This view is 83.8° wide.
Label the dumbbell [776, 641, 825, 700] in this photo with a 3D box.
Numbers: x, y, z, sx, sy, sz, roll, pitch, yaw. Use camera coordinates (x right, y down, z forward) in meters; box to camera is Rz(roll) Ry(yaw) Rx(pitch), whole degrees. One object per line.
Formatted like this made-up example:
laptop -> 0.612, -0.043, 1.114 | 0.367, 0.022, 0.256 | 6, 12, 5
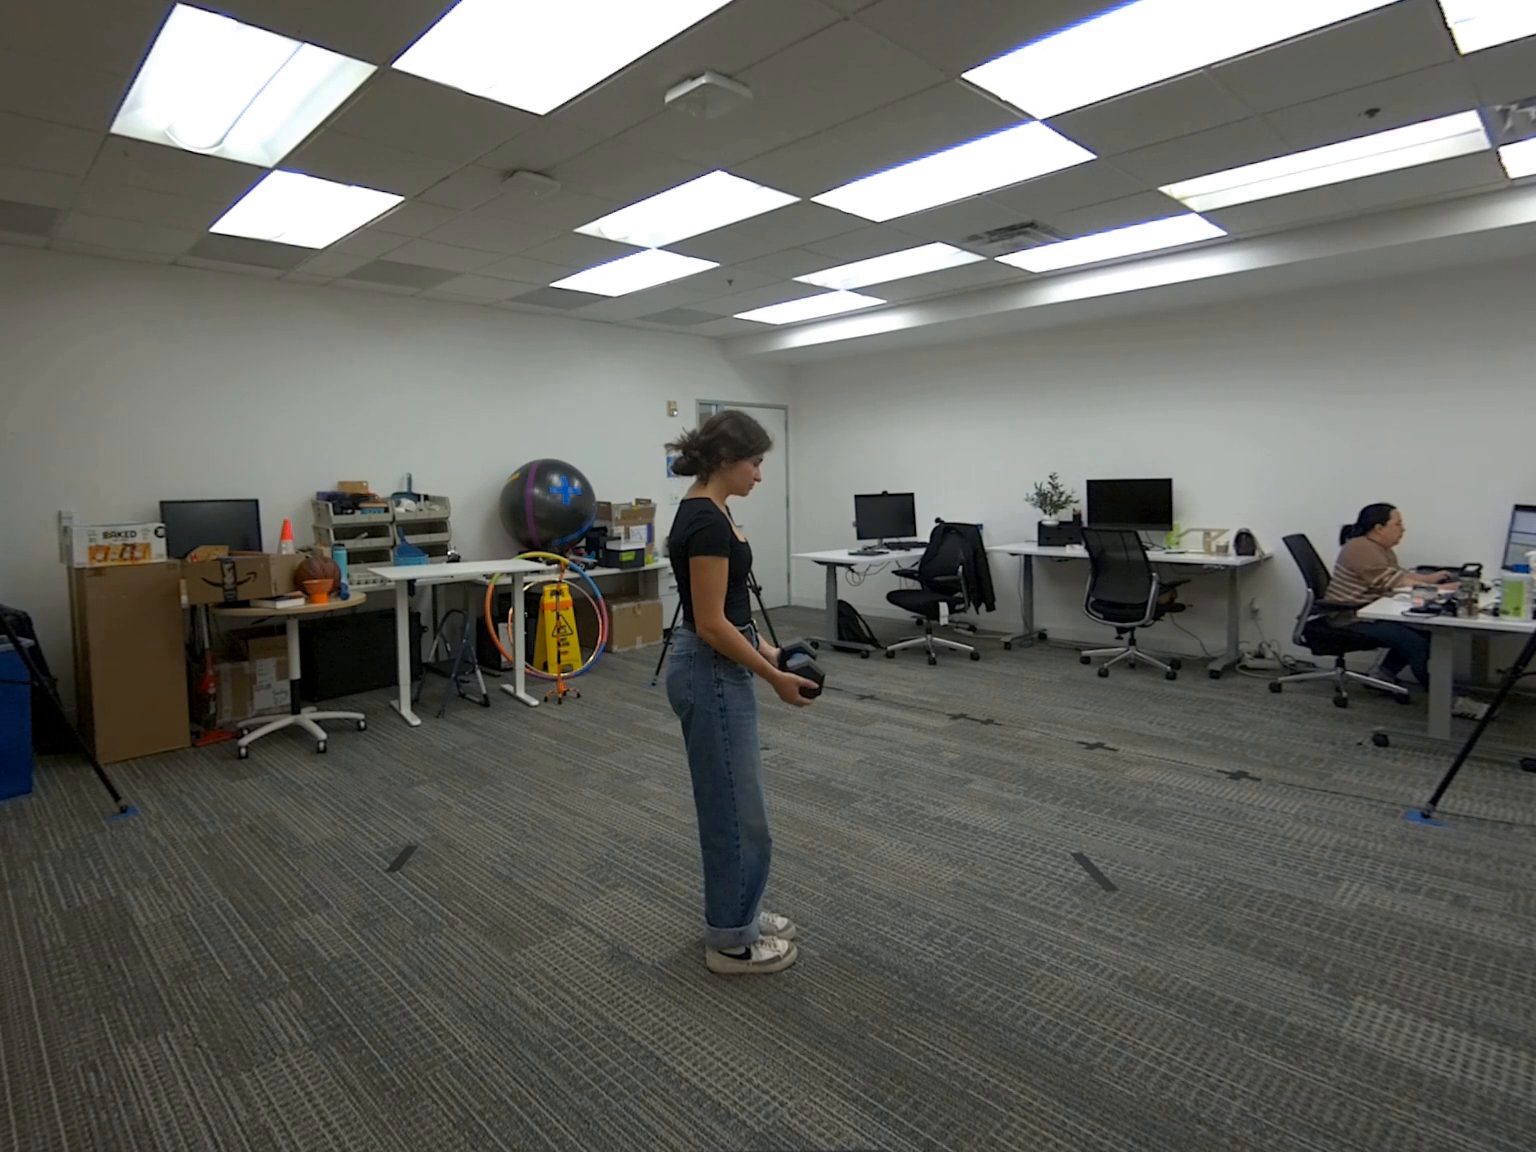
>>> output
dumbbell -> 0.099, 0.256, 2.457 | 0.123, 0.108, 0.295 | -17, 8, 1
